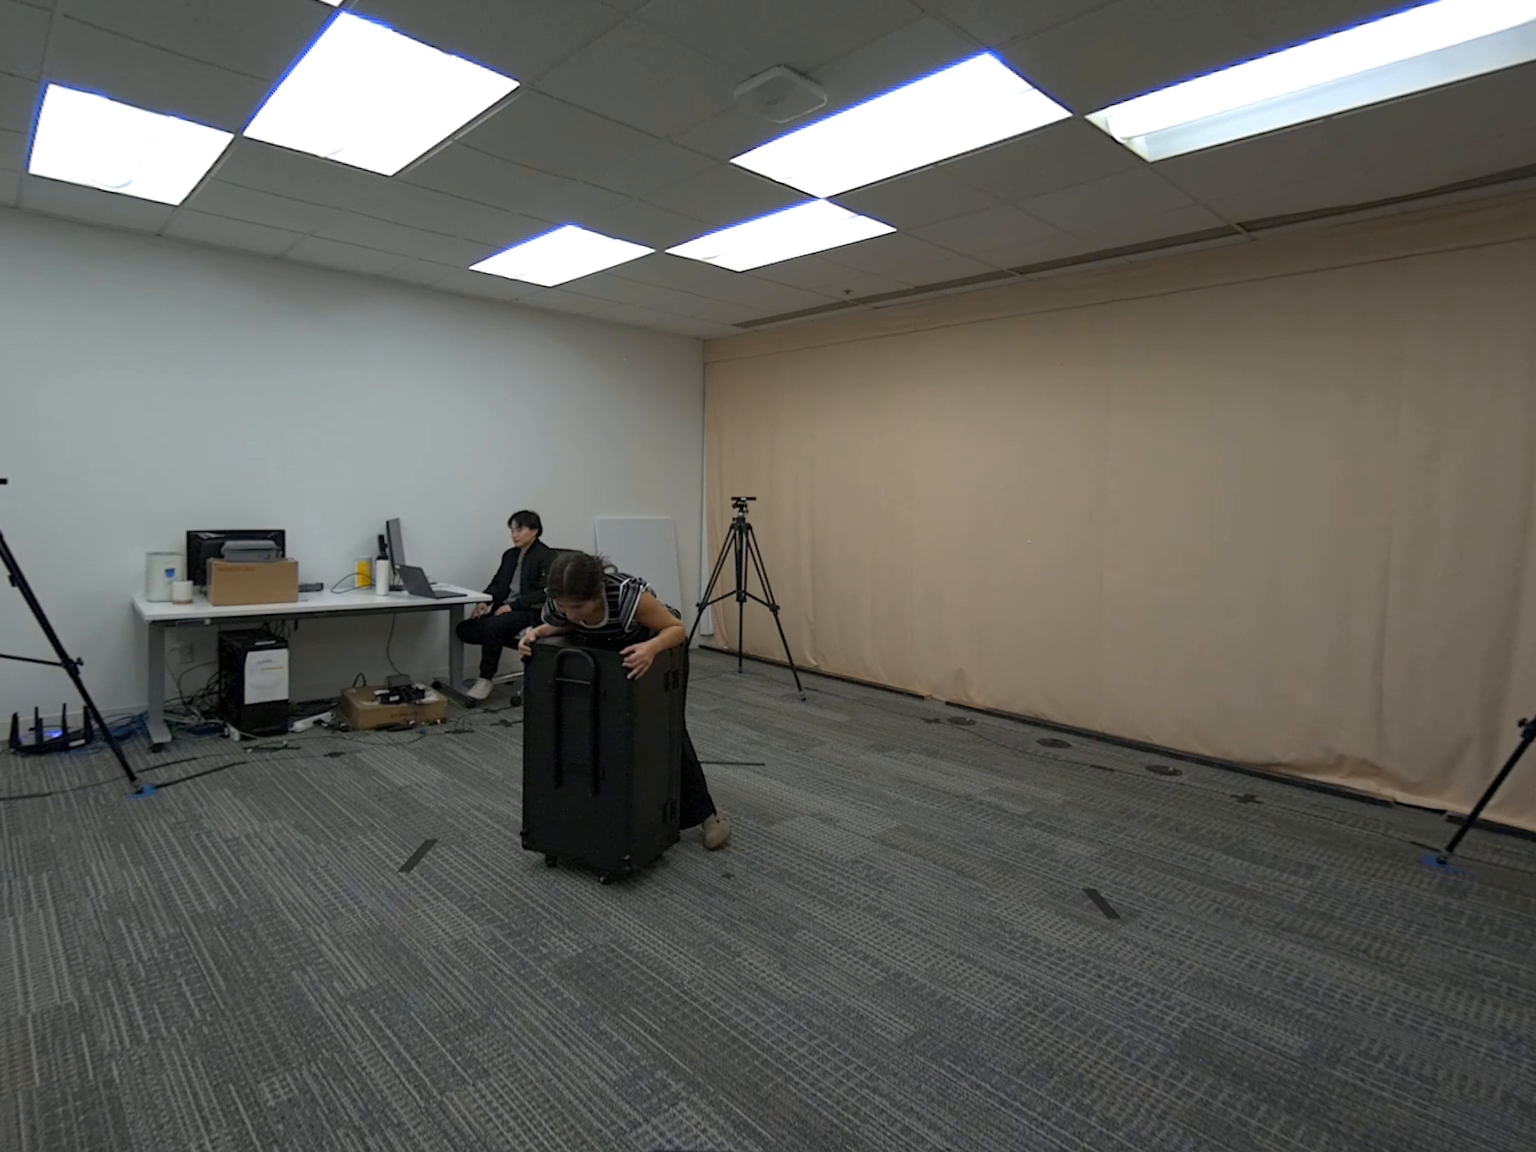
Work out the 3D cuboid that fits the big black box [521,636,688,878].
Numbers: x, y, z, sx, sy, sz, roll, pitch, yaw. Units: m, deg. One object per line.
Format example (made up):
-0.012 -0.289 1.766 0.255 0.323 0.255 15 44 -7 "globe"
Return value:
-0.629 0.673 3.153 0.531 0.859 0.390 2 4 25 "big black box"
